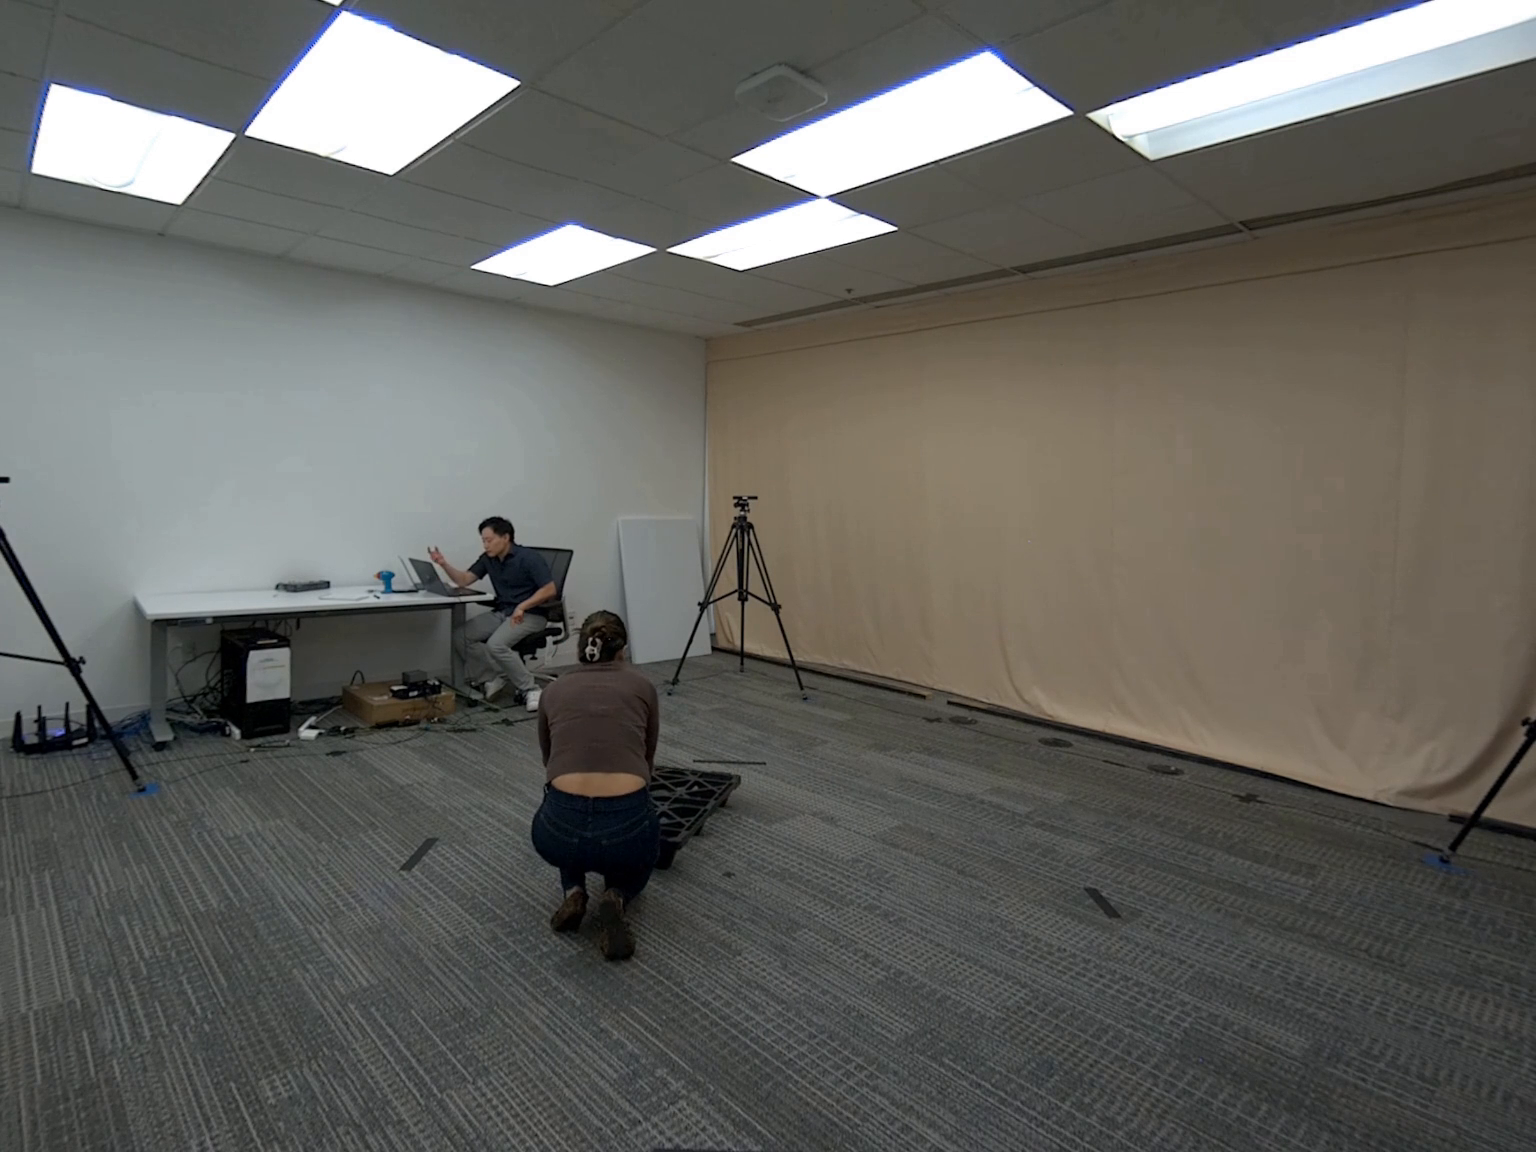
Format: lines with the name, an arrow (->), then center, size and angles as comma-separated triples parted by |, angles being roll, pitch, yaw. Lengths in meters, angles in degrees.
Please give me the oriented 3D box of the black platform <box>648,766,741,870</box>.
black platform -> -0.519, 0.991, 3.537 | 0.613, 0.143, 0.797 | 2, 5, 16
